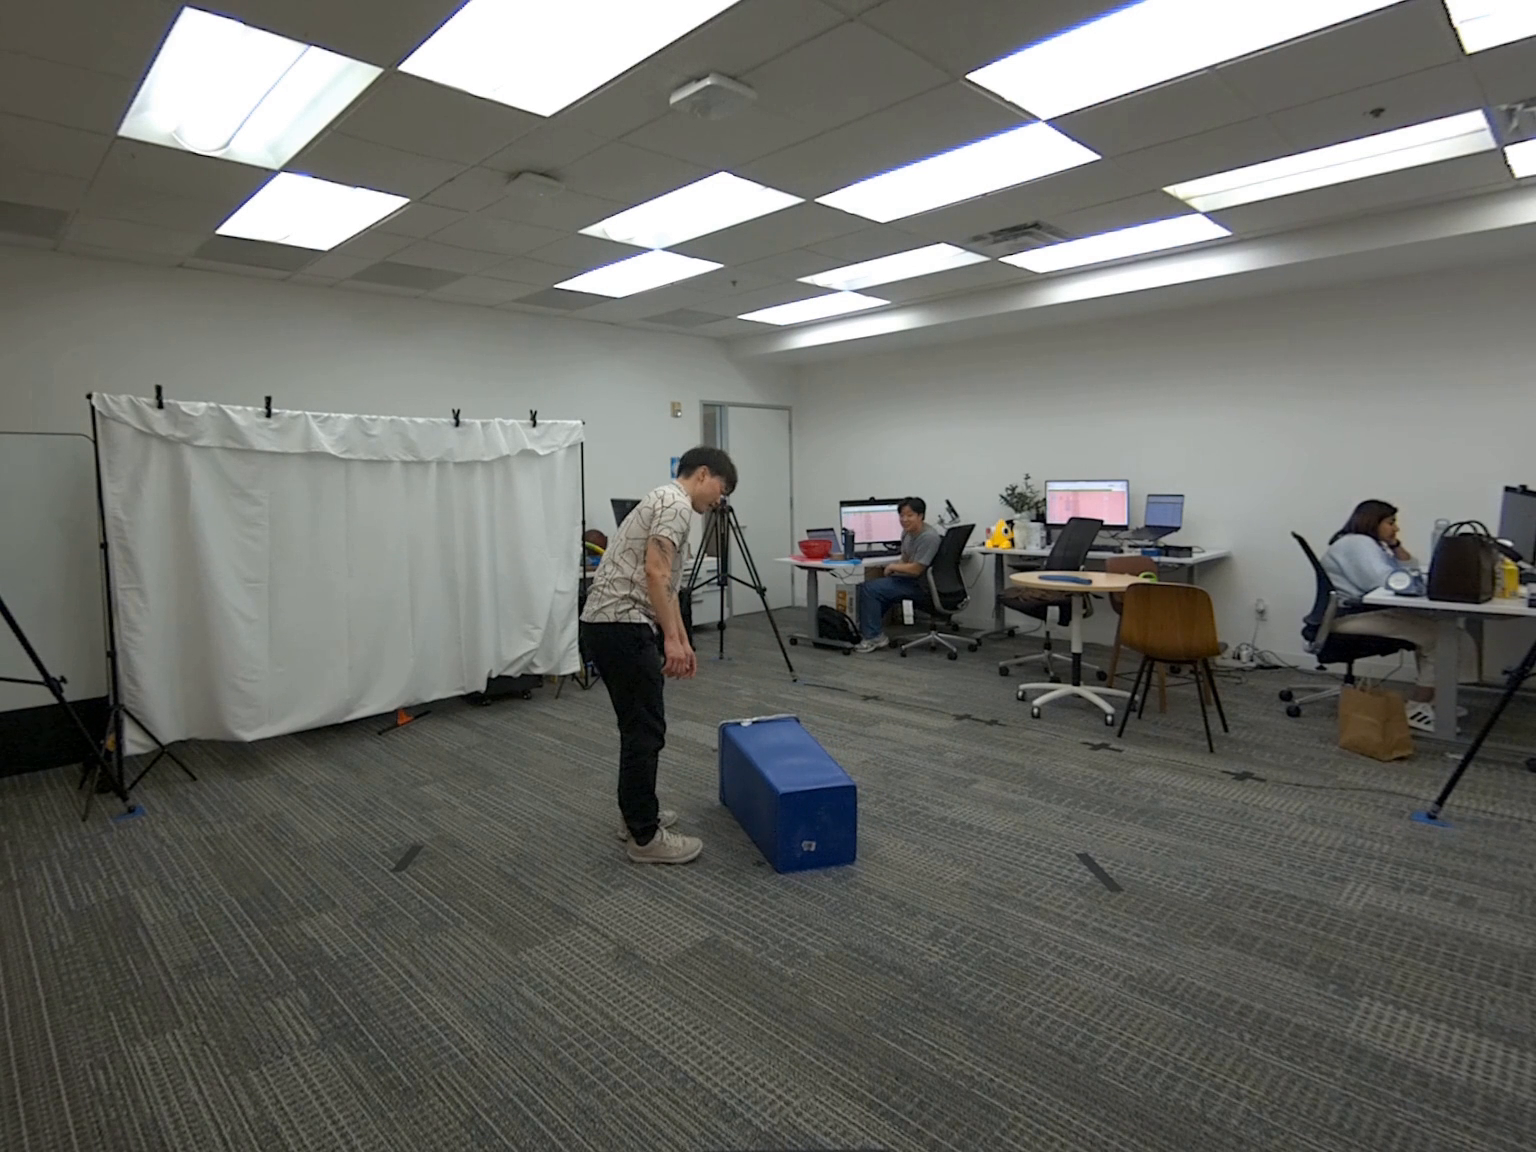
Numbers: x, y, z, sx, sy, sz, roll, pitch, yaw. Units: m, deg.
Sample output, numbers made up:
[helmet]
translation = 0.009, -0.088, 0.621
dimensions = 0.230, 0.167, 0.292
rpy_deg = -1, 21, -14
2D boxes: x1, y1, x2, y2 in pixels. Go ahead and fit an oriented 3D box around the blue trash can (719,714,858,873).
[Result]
[blue trash can]
translation = 0.062, 0.849, 3.381
dimensions = 0.373, 0.371, 0.729
rpy_deg = -3, 9, -16
